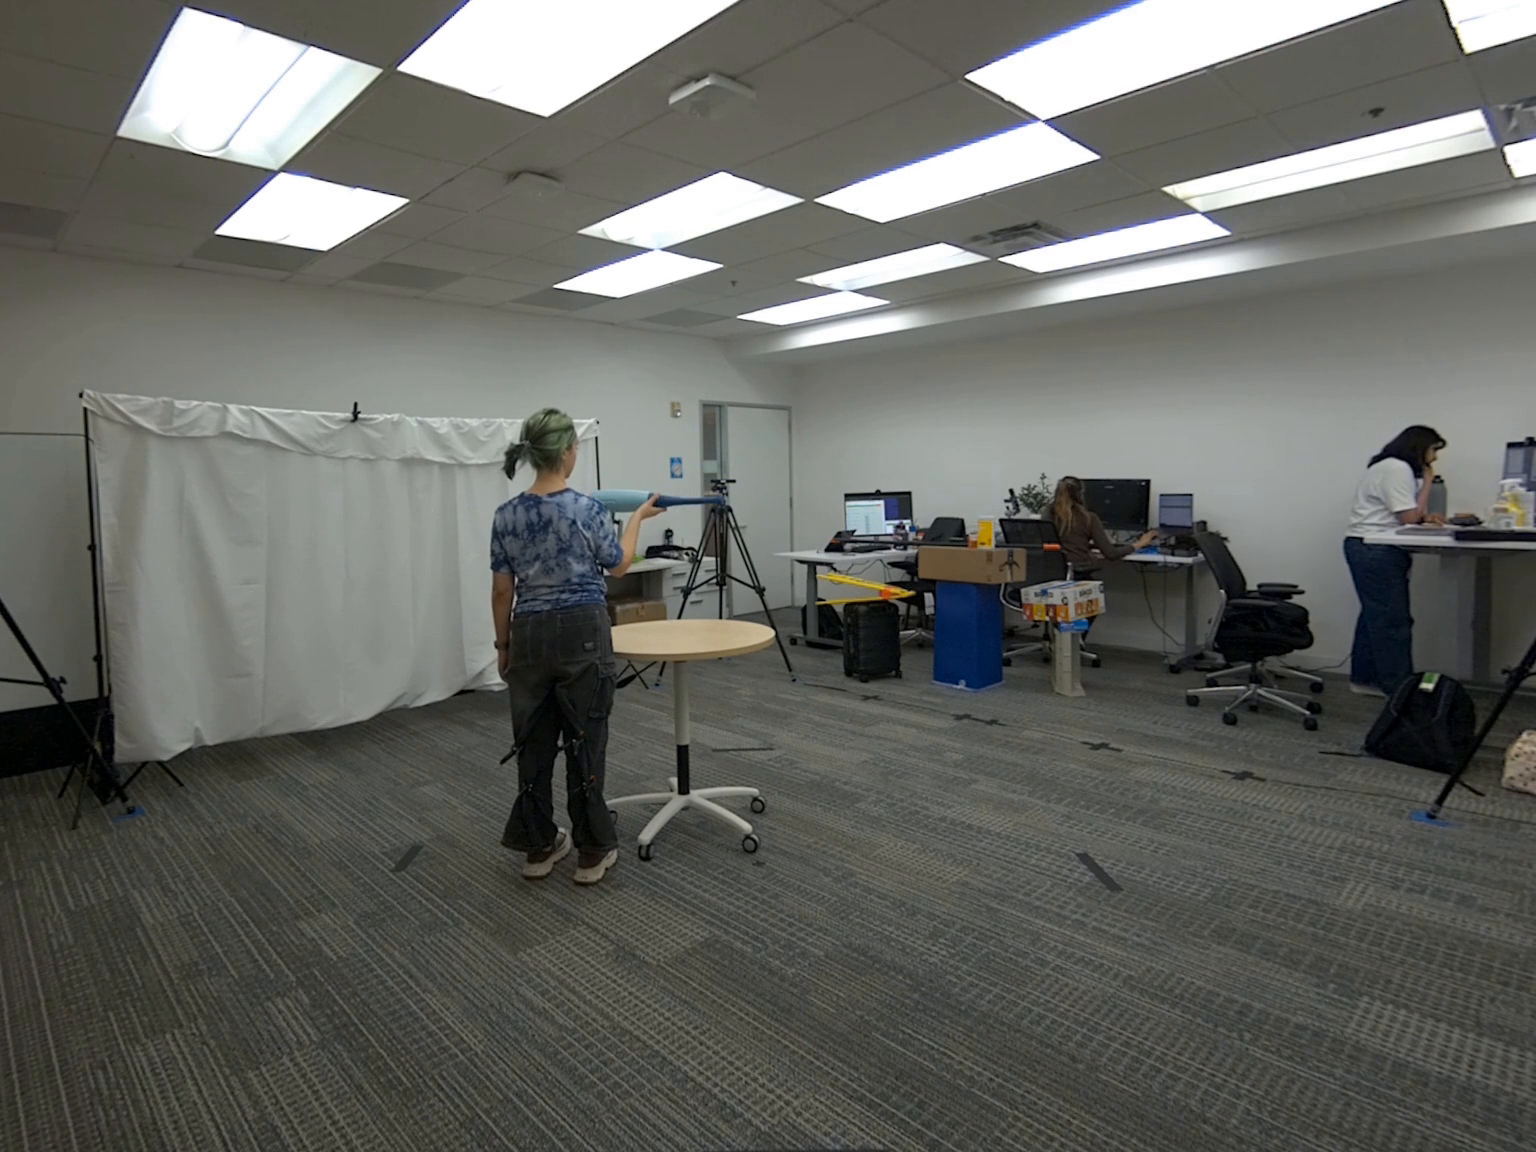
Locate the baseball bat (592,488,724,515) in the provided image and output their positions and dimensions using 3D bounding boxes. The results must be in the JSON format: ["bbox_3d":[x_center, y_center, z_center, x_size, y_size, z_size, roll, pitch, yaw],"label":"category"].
[{"bbox_3d":[-0.444,-0.288,3.310,0.550,0.089,0.088,0,5,12],"label":"baseball bat"}]
